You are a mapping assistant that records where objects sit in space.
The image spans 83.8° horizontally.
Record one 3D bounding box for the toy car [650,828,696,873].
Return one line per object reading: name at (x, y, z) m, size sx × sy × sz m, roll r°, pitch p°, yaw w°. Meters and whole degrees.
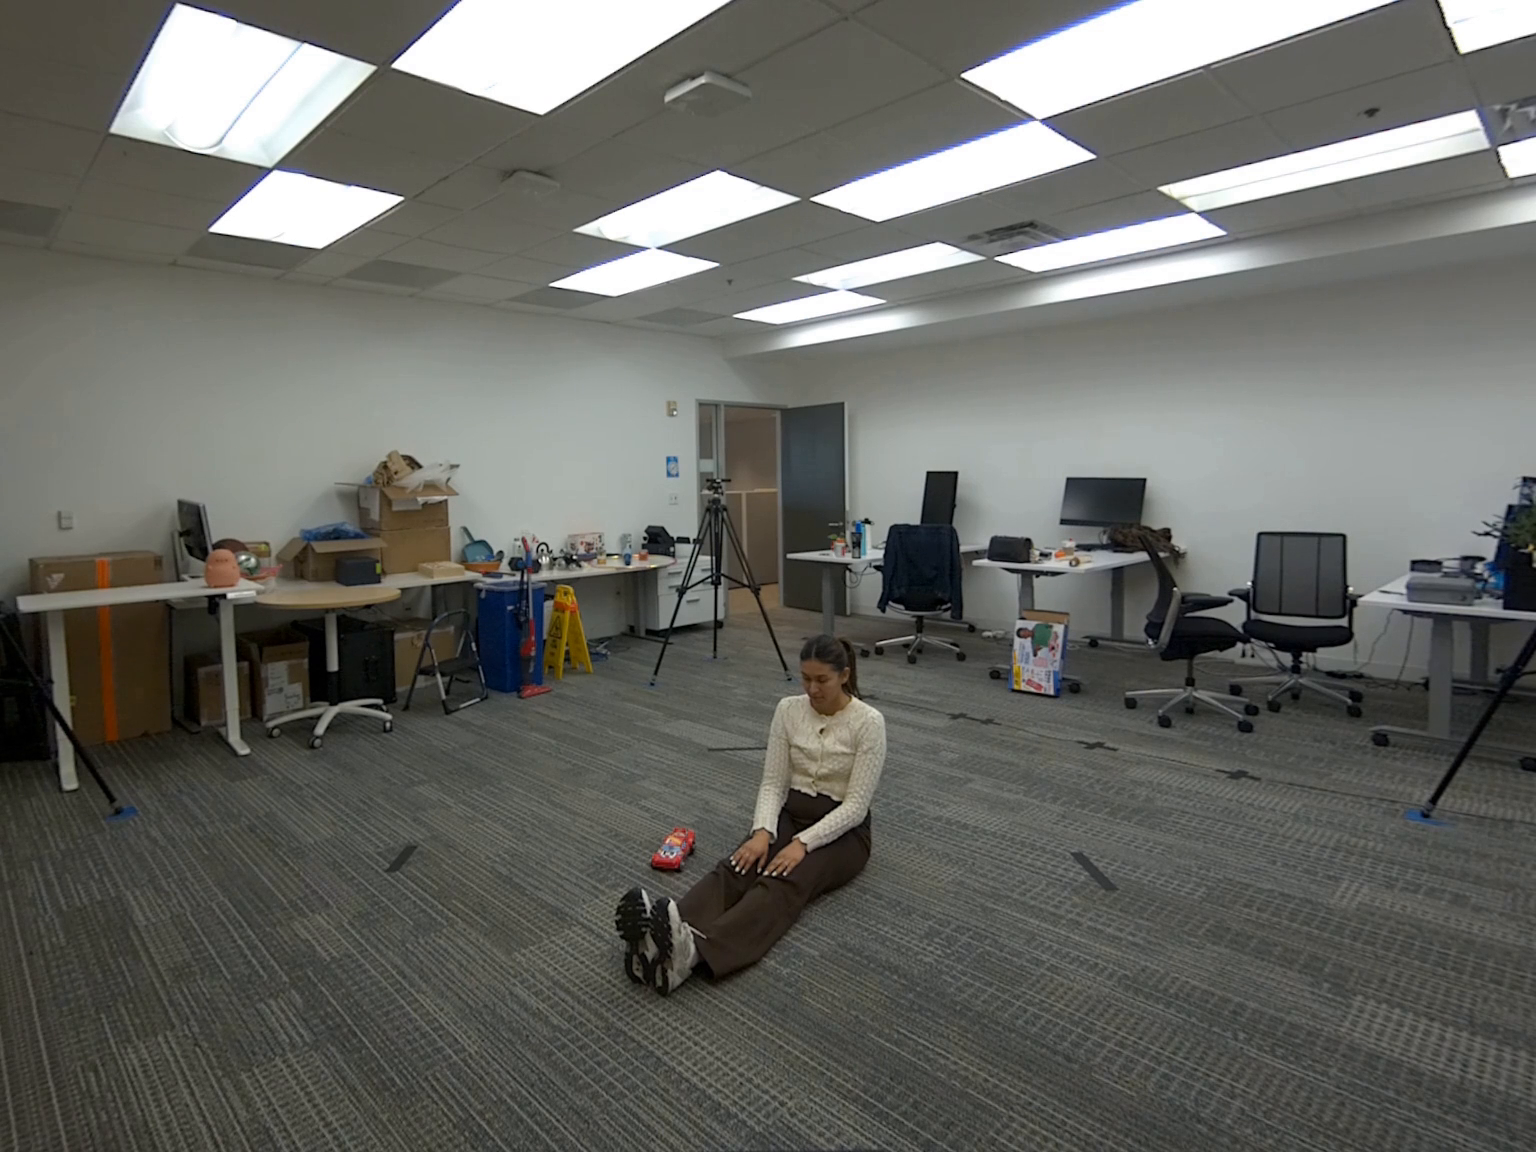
toy car at (-0.337, 1.008, 3.164) m, size 0.132 × 0.082 × 0.255 m, roll 0°, pitch 18°, yaw 12°
